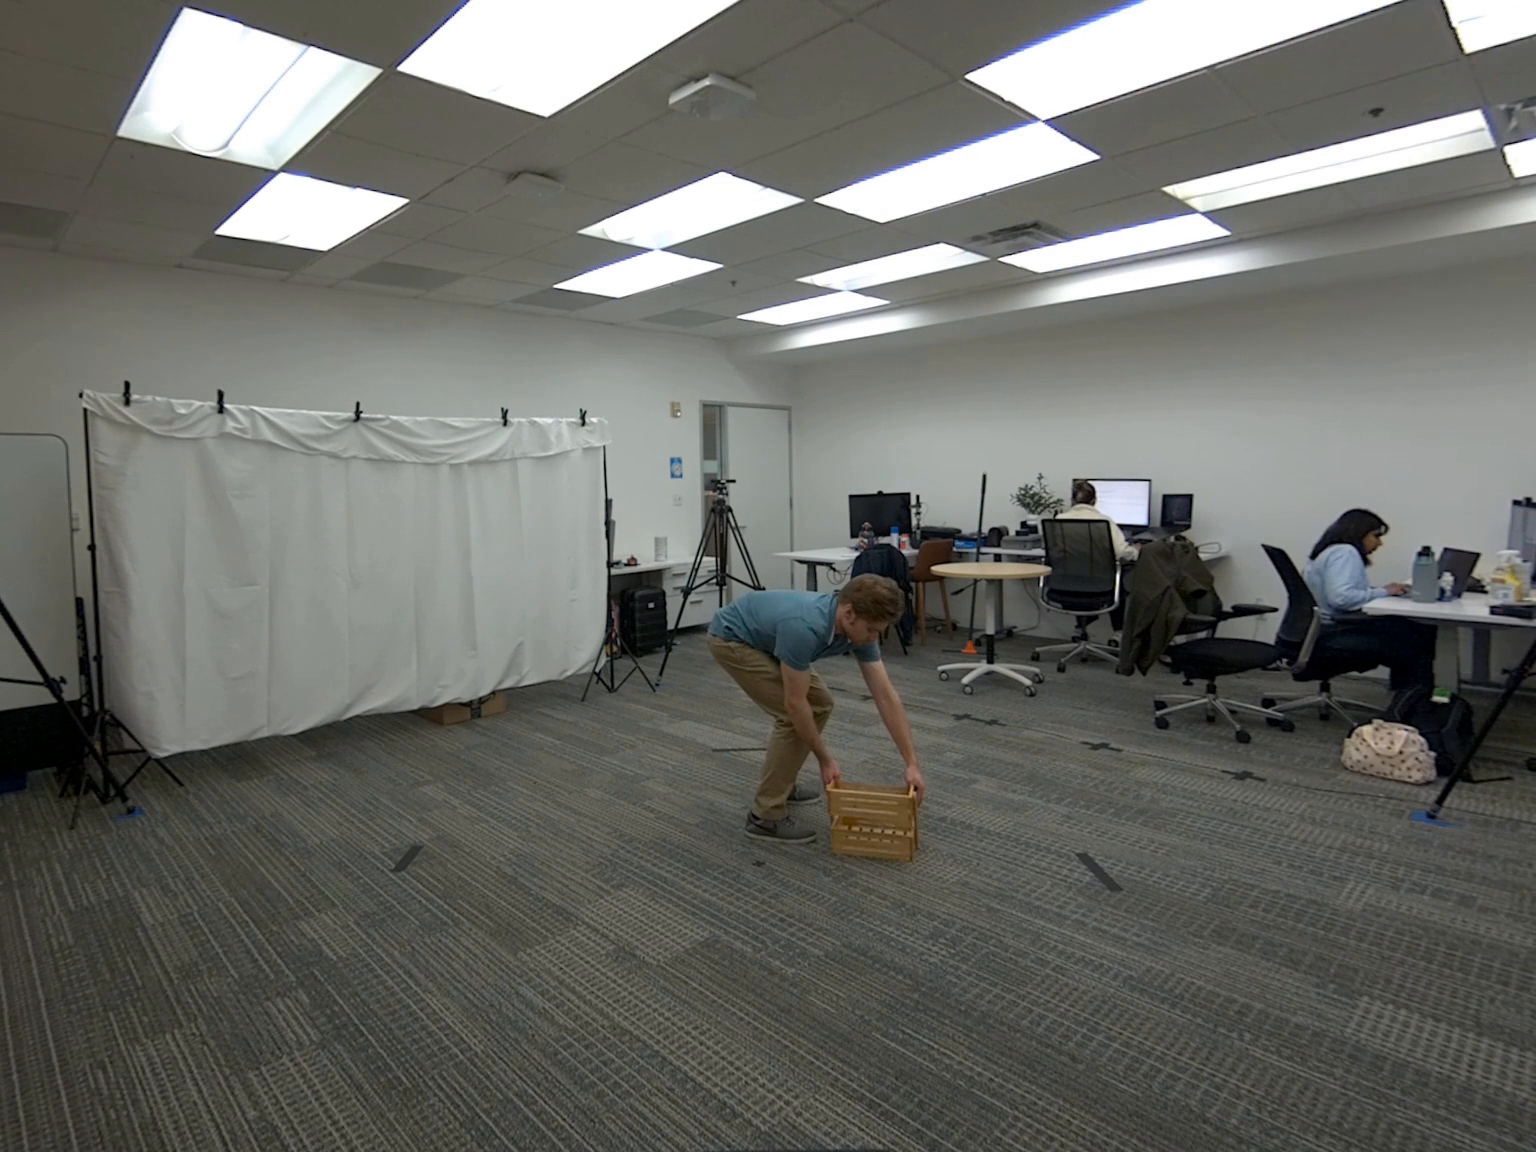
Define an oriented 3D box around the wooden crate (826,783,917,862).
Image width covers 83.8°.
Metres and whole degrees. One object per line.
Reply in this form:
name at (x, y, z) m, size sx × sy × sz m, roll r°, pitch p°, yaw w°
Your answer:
wooden crate at (0.410, 0.894, 3.240) m, size 0.329 × 0.272 × 0.299 m, roll 0°, pitch 6°, yaw 15°
